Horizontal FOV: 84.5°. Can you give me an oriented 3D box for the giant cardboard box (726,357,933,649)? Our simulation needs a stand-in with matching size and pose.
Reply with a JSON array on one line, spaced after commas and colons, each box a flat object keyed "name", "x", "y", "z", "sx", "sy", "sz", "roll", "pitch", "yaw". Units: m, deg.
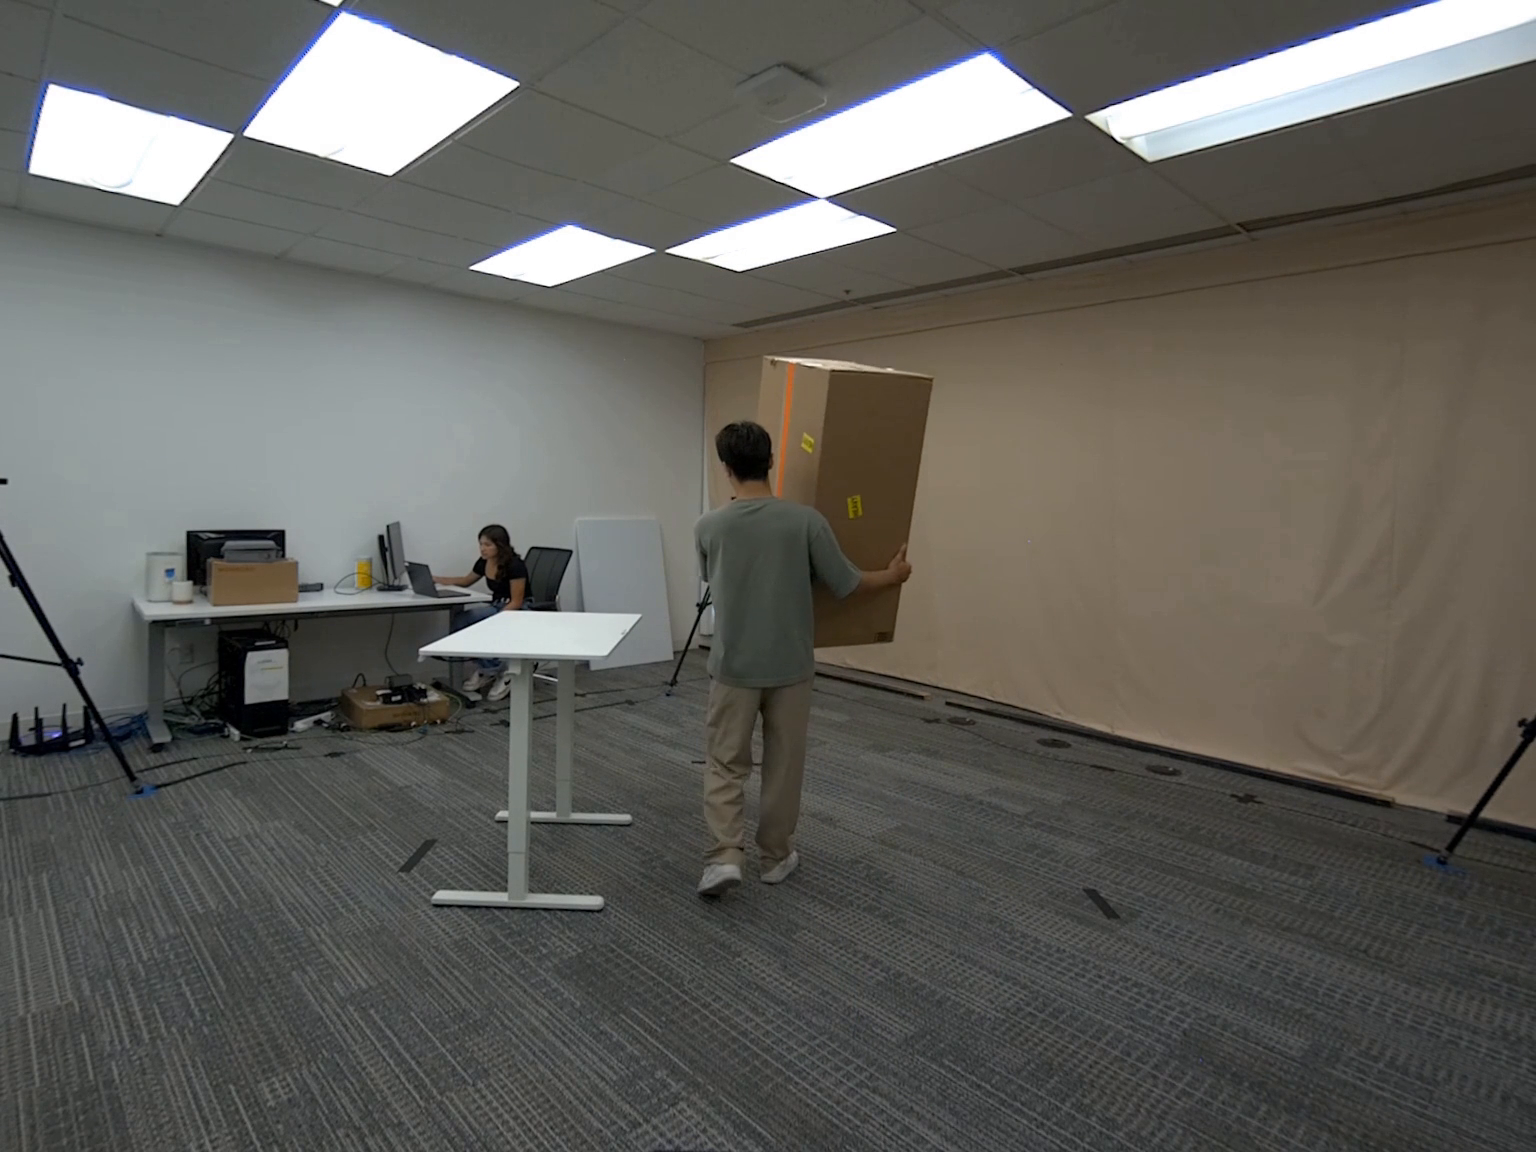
[{"name": "giant cardboard box", "x": 0.220, "y": -0.300, "z": 3.290, "sx": 0.419, "sy": 1.015, "sz": 0.593, "roll": -1, "pitch": 17, "yaw": -24}]
